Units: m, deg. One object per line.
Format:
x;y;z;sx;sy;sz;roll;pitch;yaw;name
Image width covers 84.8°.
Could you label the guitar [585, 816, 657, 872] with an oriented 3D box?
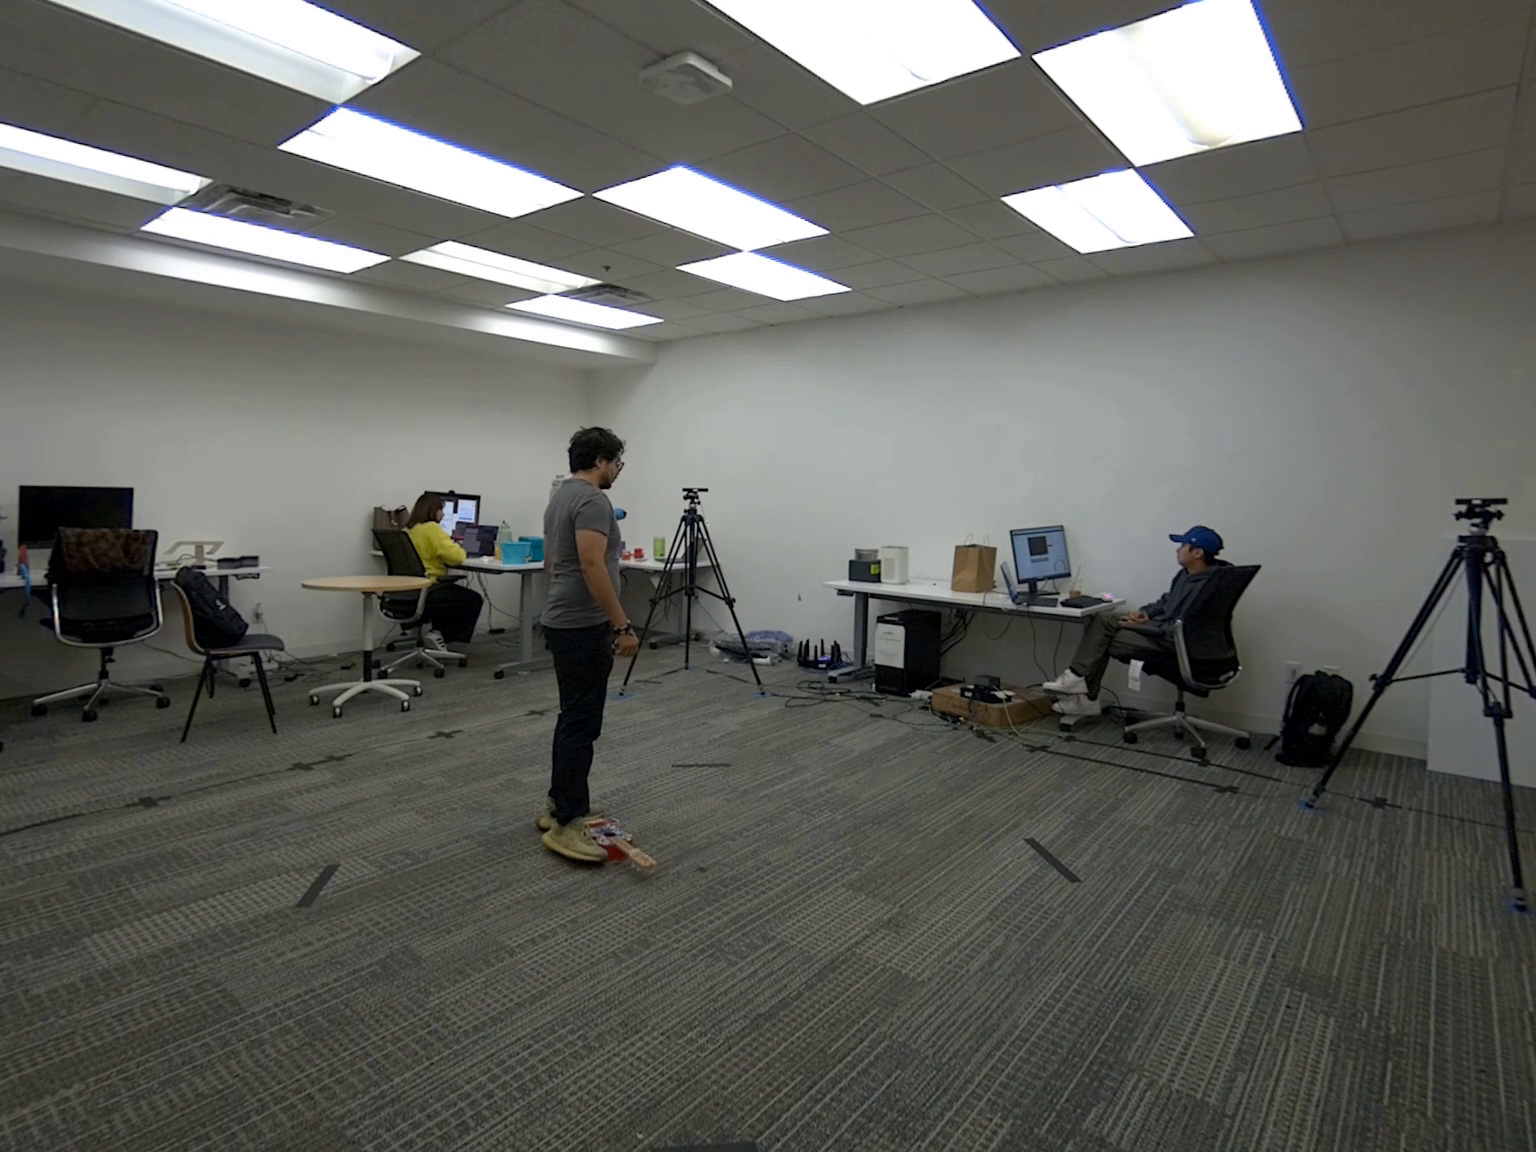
-0.593;1.021;3.194;0.188;0.070;0.512;-1;5;-27;guitar
